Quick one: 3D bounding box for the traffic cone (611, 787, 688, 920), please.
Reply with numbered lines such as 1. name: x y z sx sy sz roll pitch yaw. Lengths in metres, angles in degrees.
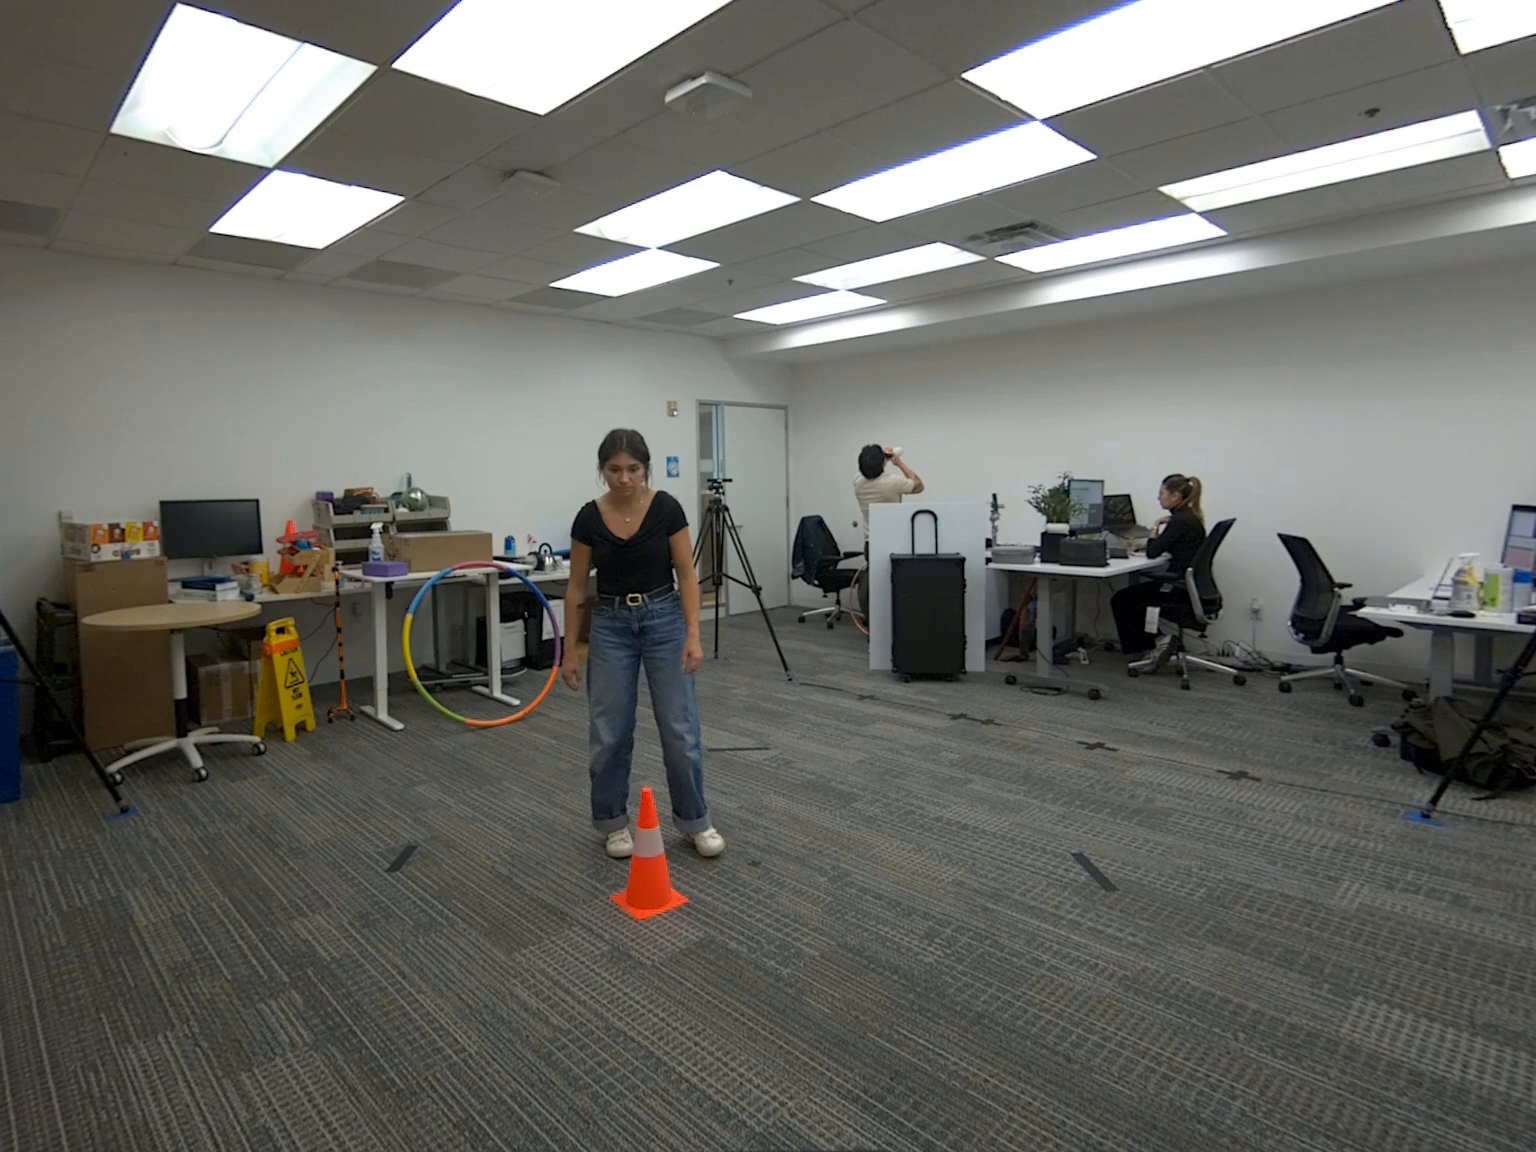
1. traffic cone: -0.393 0.899 2.845 0.198 0.382 0.211 -3 6 -35
